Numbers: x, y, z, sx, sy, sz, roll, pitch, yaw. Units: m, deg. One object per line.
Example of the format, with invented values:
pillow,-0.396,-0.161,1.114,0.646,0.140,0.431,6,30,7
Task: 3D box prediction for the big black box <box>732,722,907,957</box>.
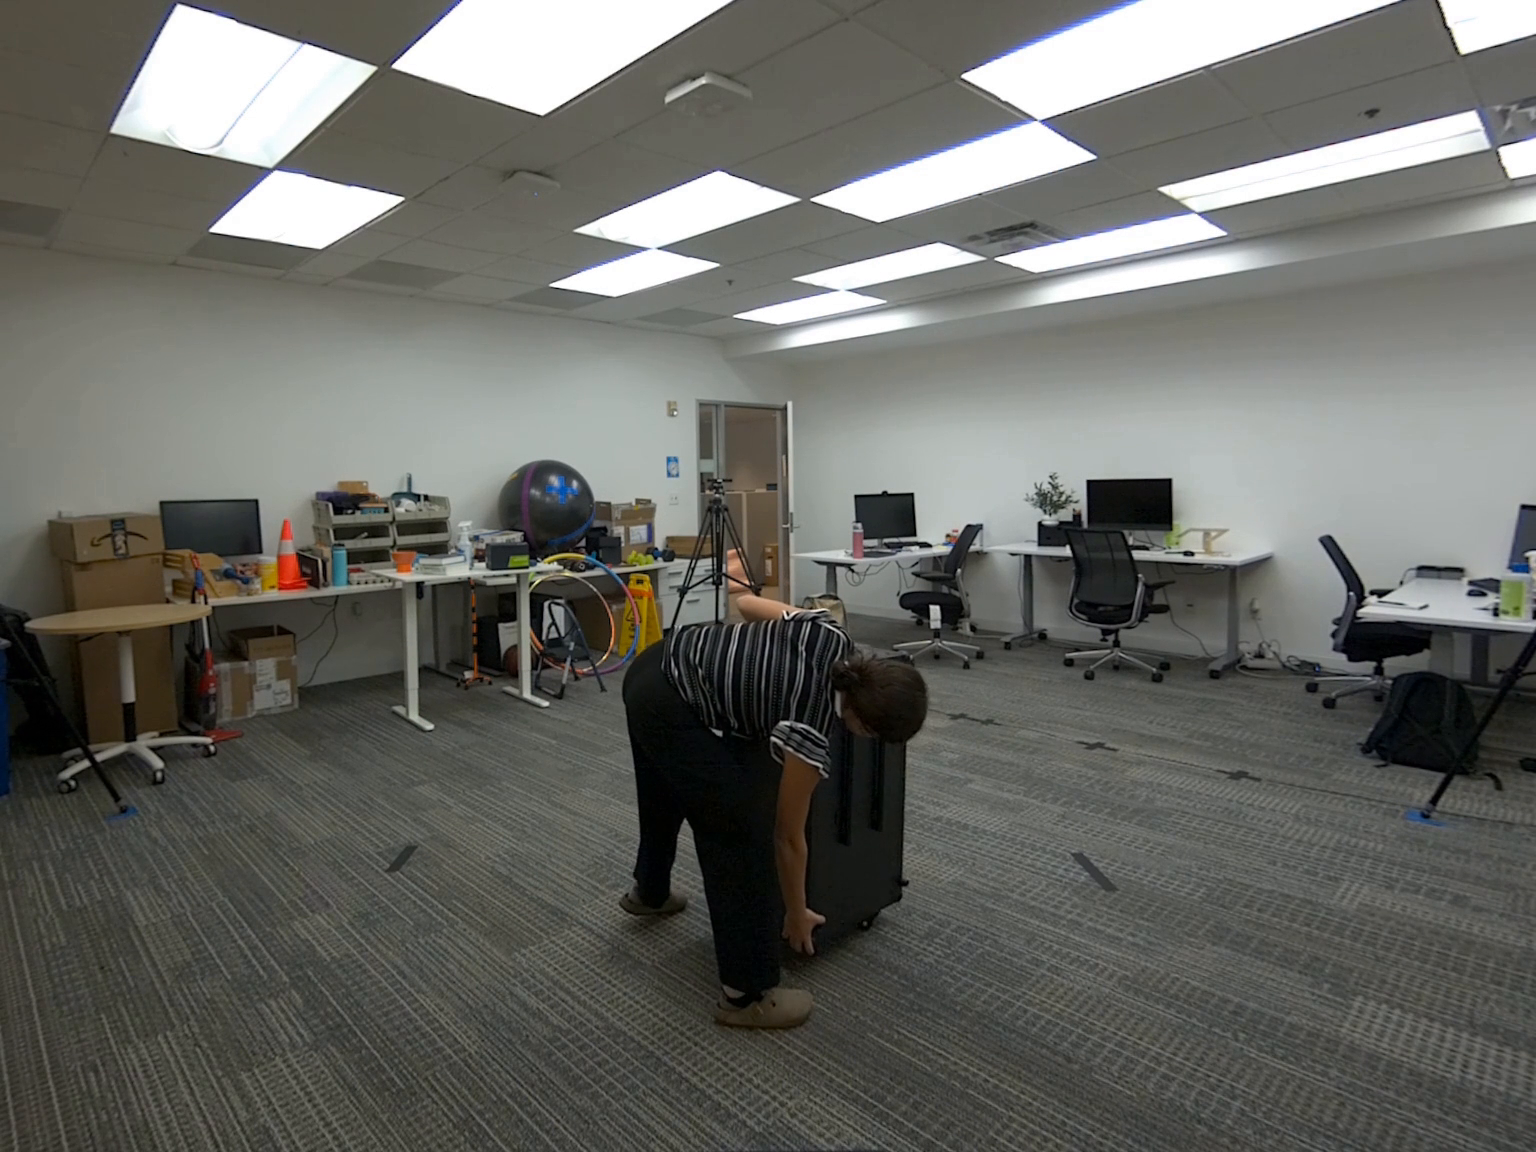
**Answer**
big black box,0.162,0.669,2.645,0.409,0.860,0.506,5,3,43
